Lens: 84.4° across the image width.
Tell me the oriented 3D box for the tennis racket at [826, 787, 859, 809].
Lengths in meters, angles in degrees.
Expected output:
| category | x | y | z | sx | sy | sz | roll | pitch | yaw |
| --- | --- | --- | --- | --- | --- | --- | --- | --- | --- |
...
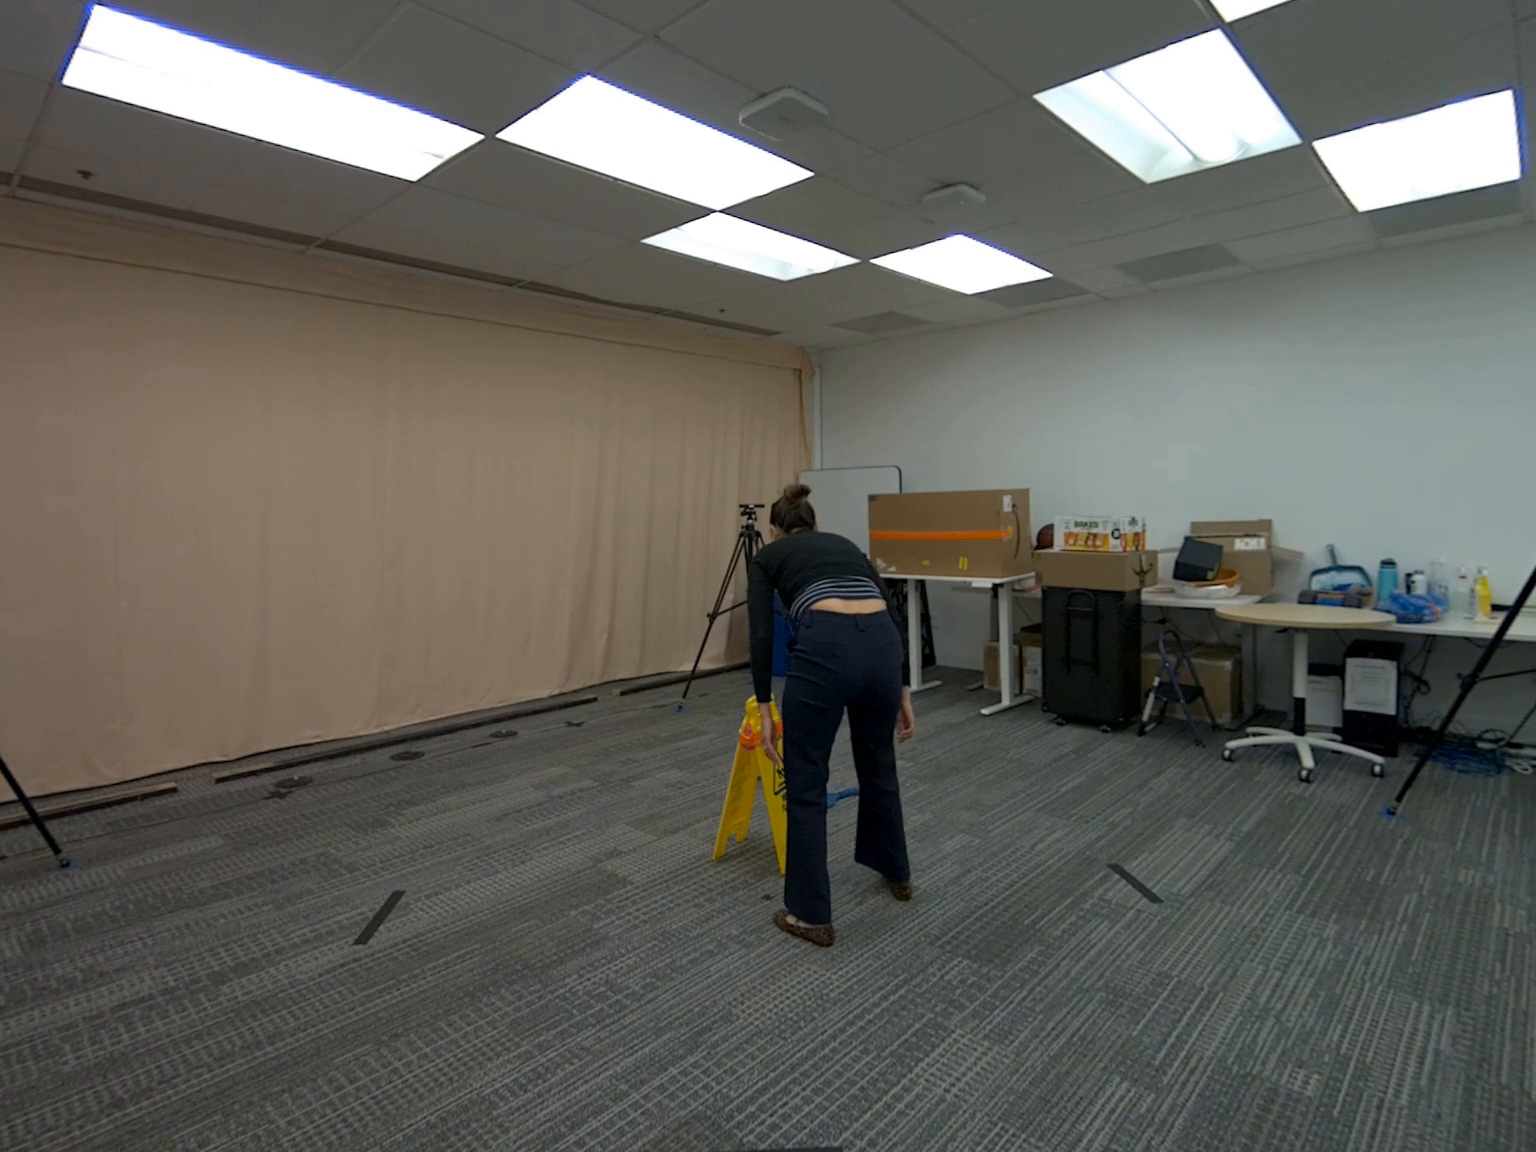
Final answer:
| category | x | y | z | sx | sy | sz | roll | pitch | yaw |
| --- | --- | --- | --- | --- | --- | --- | --- | --- | --- |
| tennis racket | 0.257 | 1.039 | 3.934 | 0.423 | 0.031 | 0.219 | -4 | 6 | -24 |
